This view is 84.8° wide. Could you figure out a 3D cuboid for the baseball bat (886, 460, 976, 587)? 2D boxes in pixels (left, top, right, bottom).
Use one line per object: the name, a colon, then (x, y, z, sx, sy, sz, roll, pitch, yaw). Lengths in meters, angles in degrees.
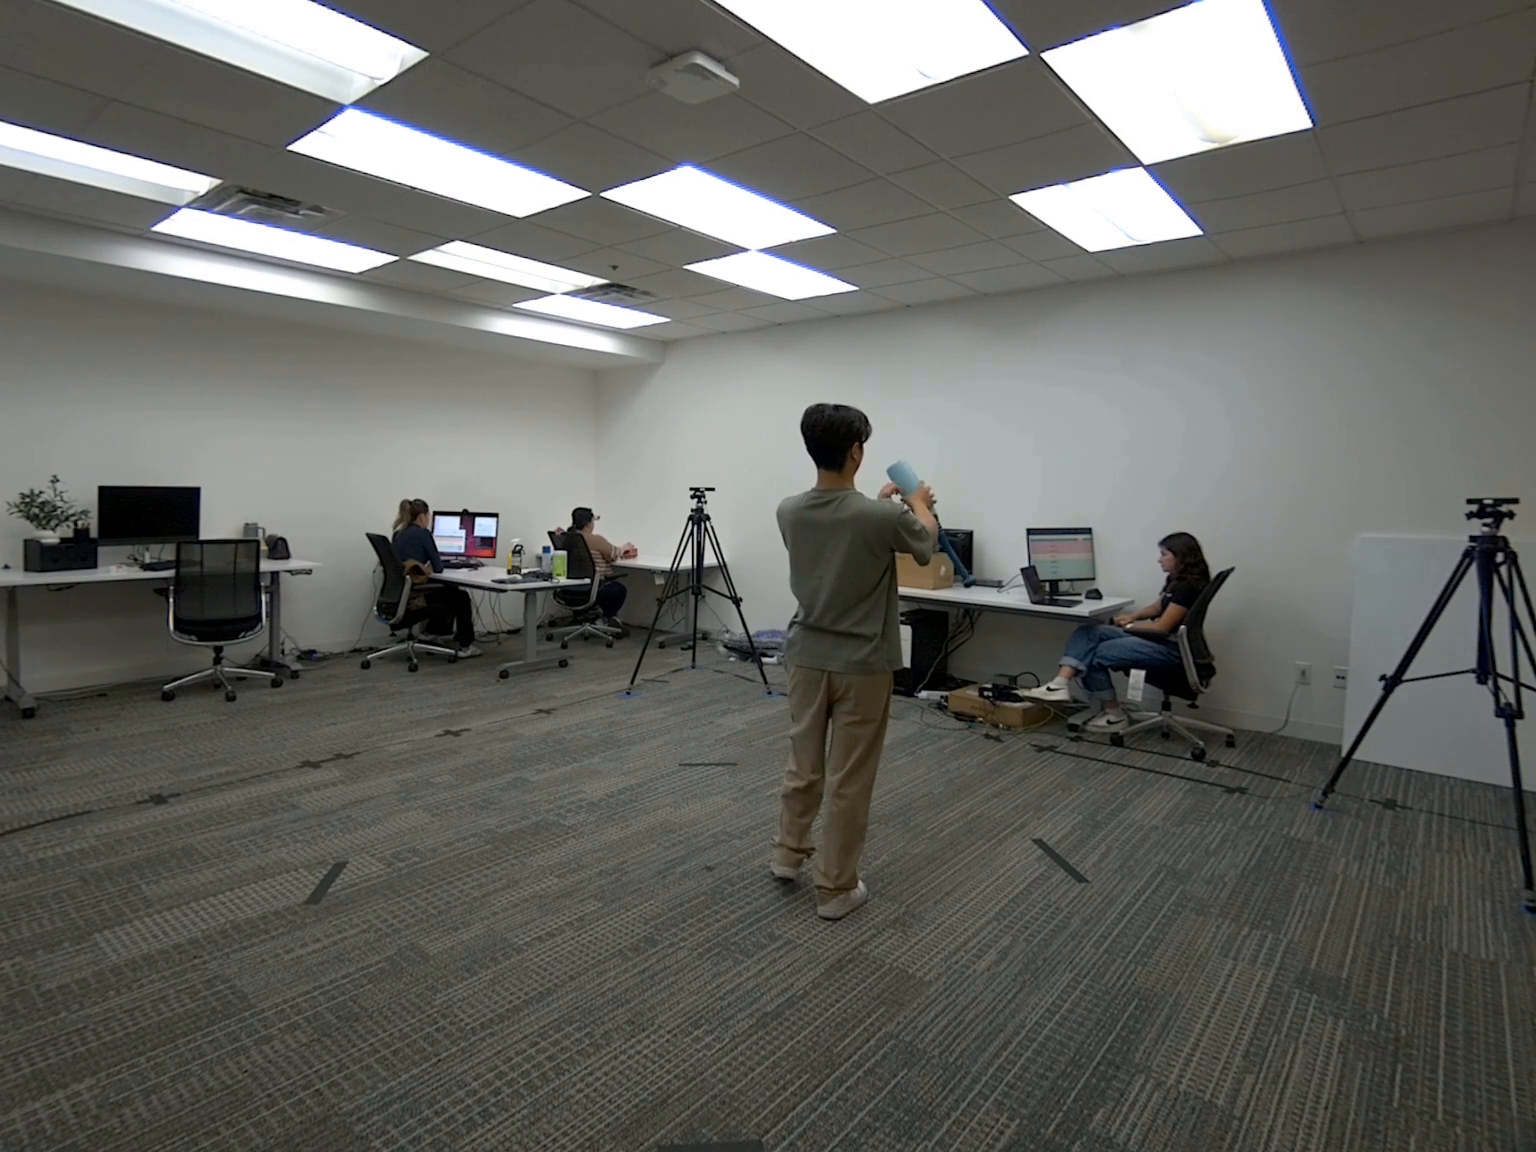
baseball bat: (0.603, -0.199, 3.165, 0.088, 0.555, 0.087, -26, -16, -9)
